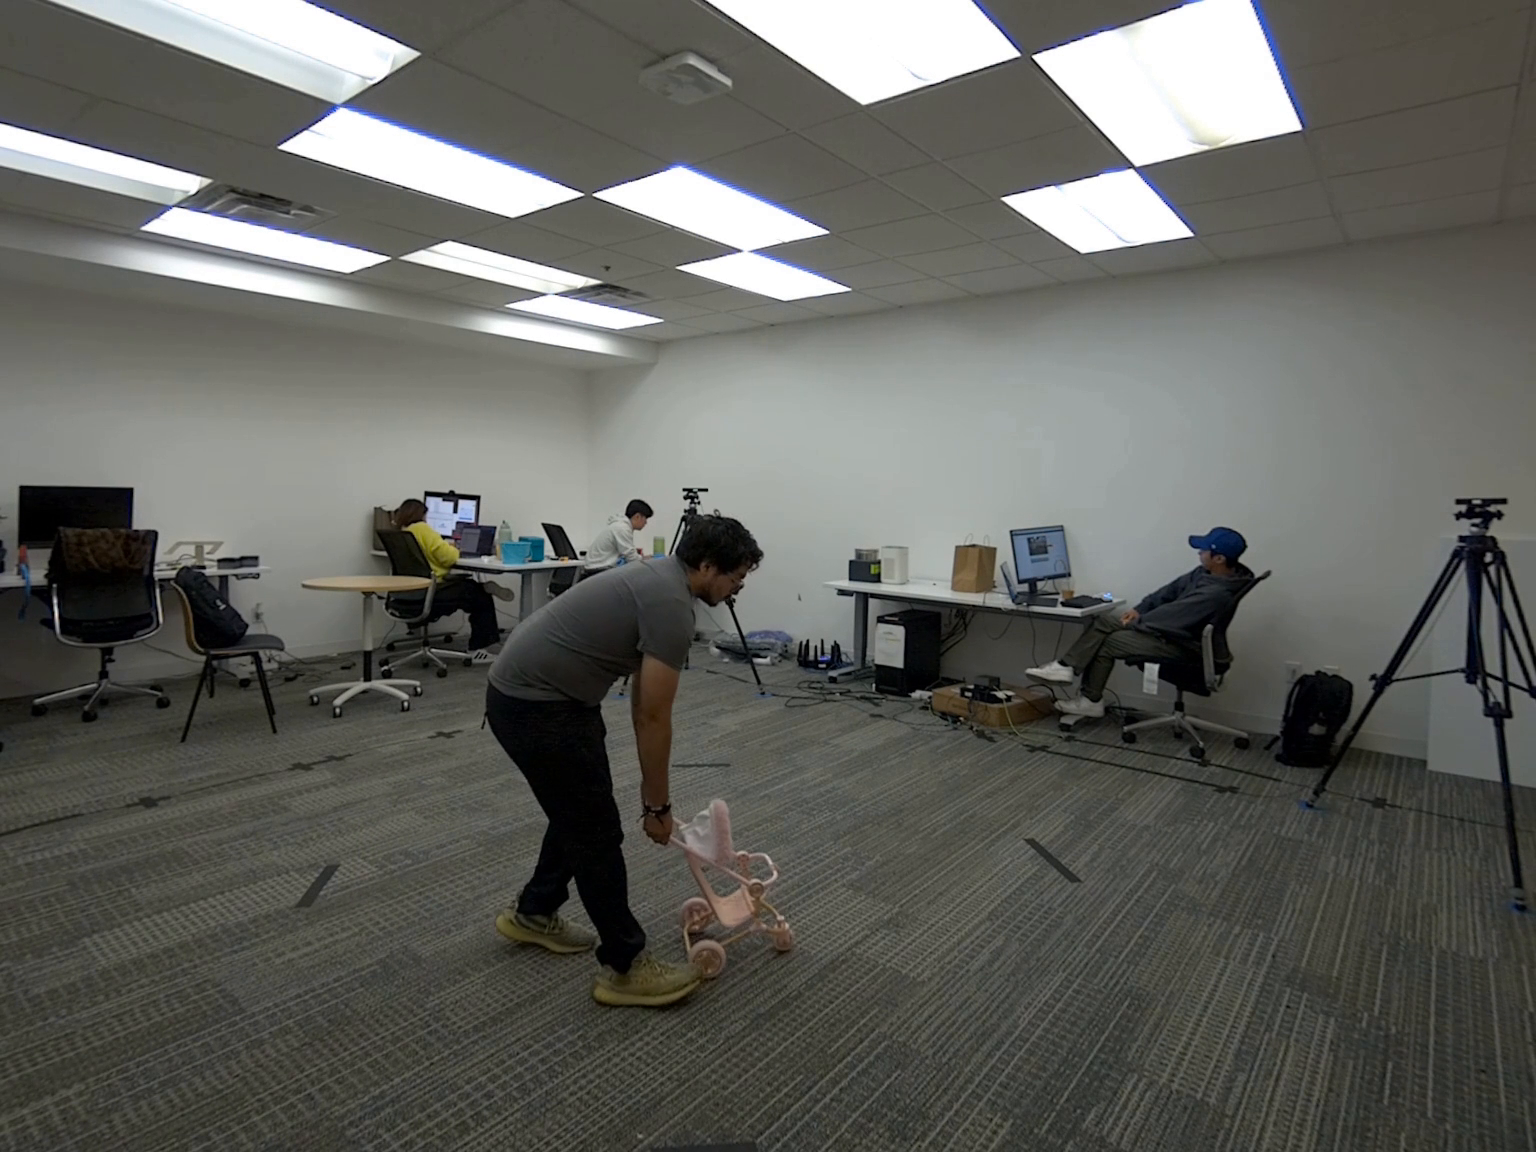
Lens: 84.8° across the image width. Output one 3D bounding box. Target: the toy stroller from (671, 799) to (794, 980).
[{"bbox_3d":[-0.139,0.904,2.528,0.340,0.532,0.284,-15,5,-5],"label":"toy stroller"}]
